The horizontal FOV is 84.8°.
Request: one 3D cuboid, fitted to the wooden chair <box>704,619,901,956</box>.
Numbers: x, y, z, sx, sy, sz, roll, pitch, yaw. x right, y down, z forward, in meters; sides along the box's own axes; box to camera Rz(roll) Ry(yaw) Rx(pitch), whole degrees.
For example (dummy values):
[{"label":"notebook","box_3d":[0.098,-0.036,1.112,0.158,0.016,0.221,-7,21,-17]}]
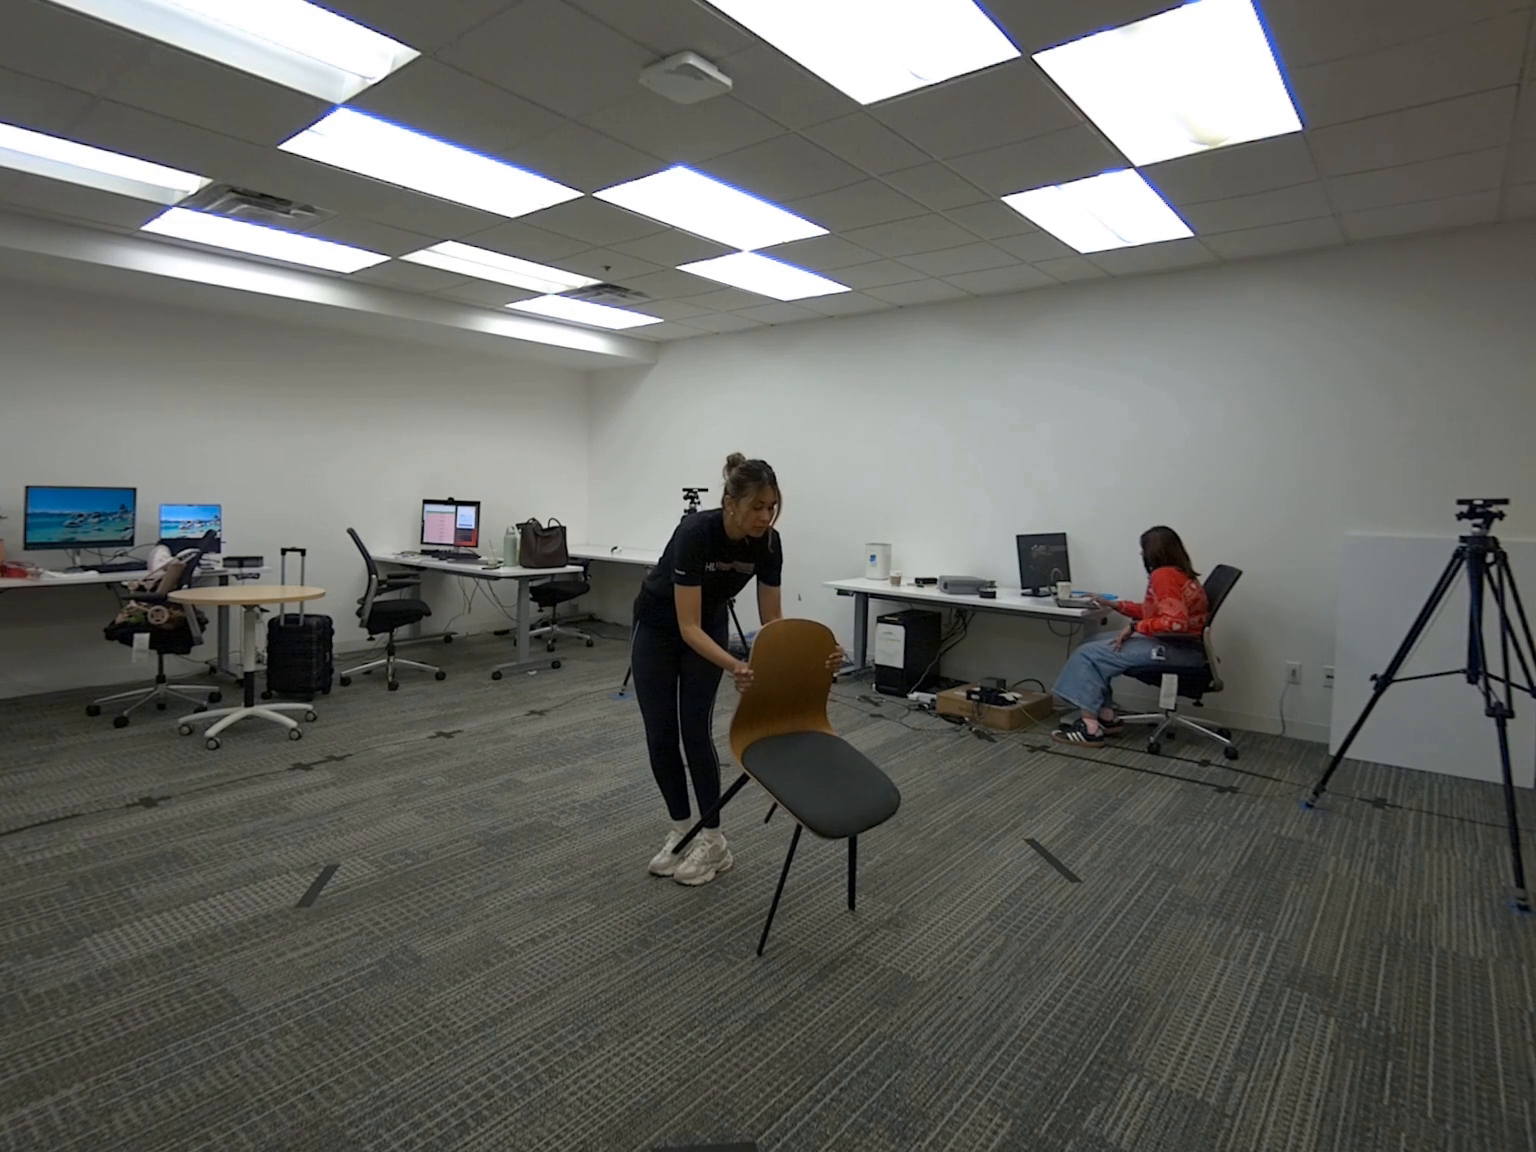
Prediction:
[{"label":"wooden chair","box_3d":[0.112,0.637,2.685,0.463,0.868,0.545,-1,23,-44]}]
